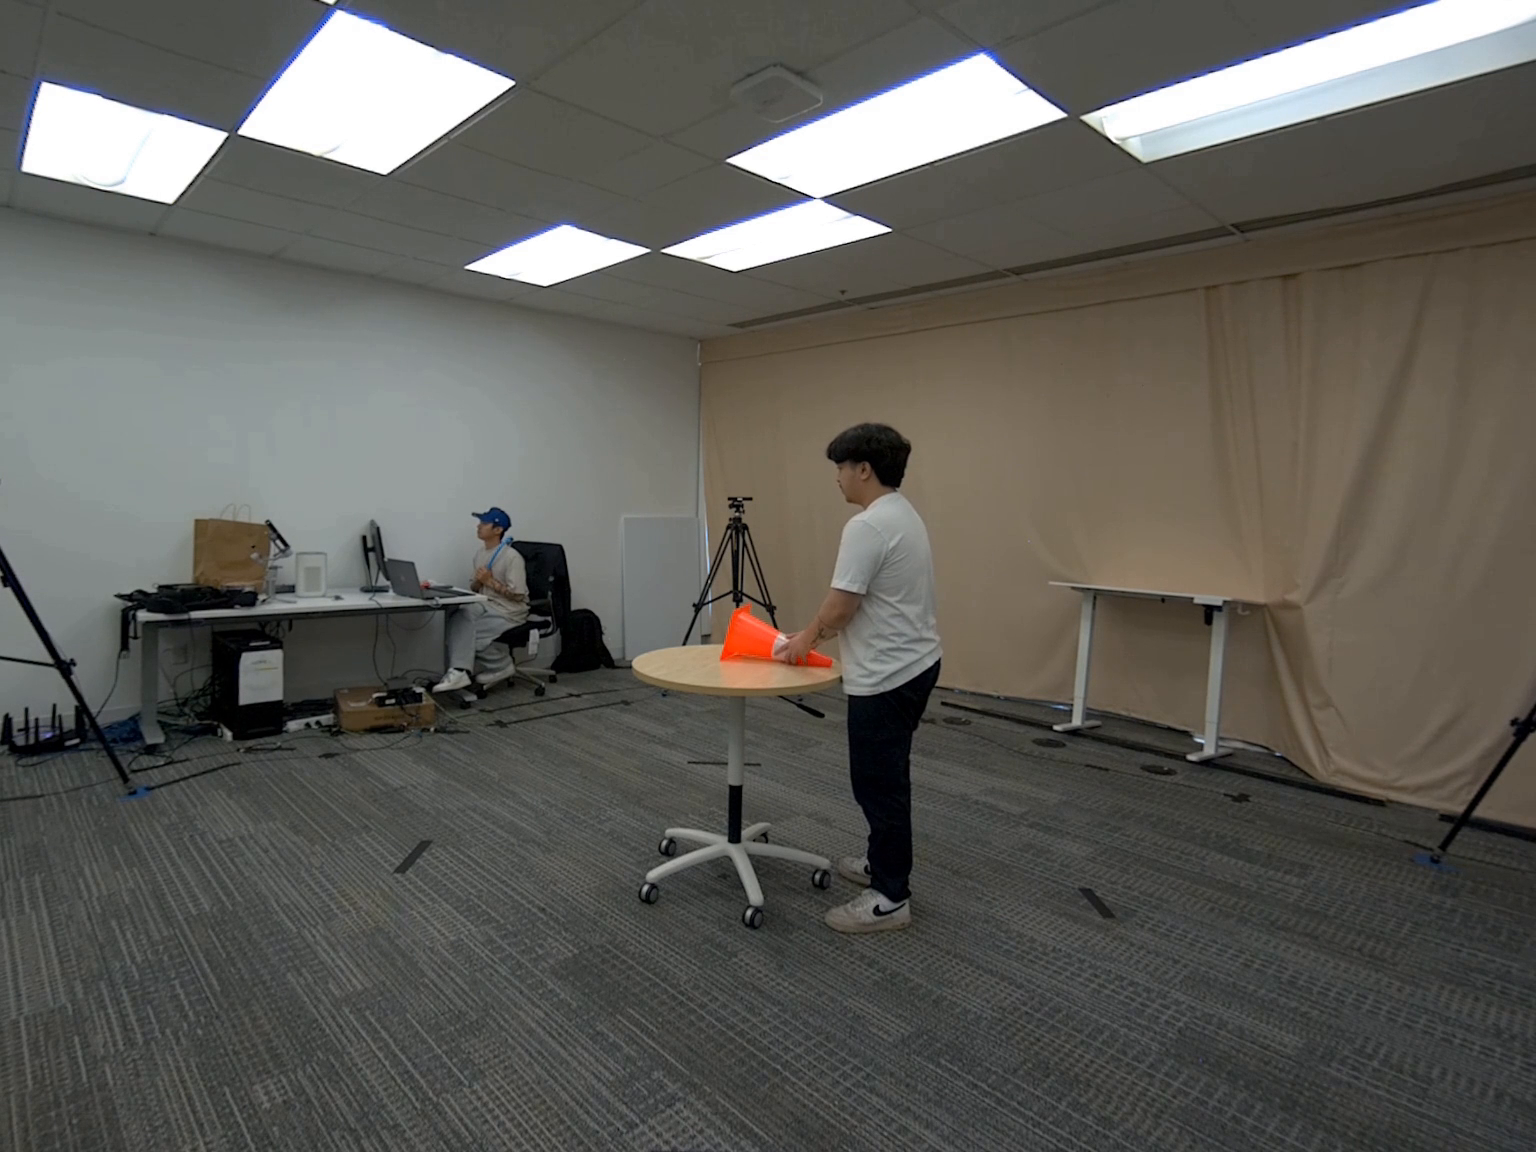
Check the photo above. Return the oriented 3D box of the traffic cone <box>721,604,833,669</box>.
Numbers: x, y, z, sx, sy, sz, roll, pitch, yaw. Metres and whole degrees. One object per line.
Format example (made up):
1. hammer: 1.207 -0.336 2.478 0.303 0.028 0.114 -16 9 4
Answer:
1. traffic cone: 0.050 0.260 3.070 0.391 0.202 0.202 15 8 20
